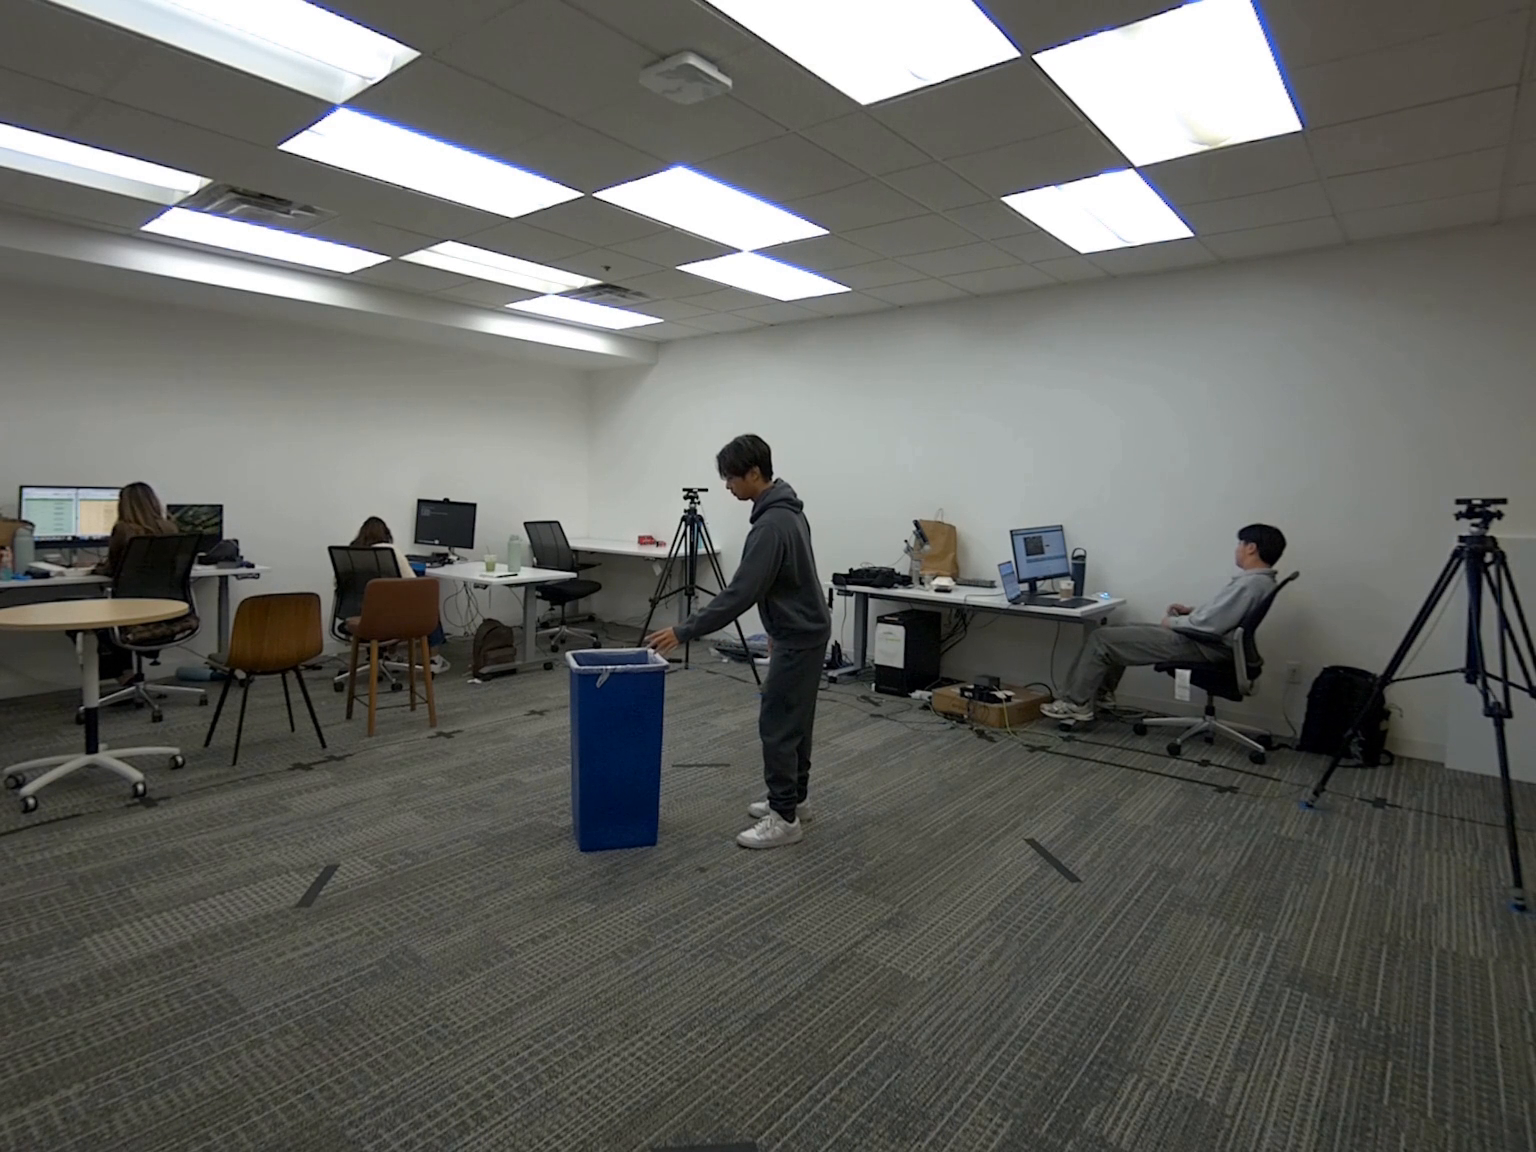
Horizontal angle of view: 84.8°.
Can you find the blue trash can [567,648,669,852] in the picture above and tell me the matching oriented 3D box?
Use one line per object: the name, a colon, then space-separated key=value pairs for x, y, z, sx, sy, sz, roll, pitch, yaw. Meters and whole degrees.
blue trash can: x=-0.628 y=0.675 z=3.407 sx=0.372 sy=0.712 sz=0.381 roll=0 pitch=3 yaw=-17
